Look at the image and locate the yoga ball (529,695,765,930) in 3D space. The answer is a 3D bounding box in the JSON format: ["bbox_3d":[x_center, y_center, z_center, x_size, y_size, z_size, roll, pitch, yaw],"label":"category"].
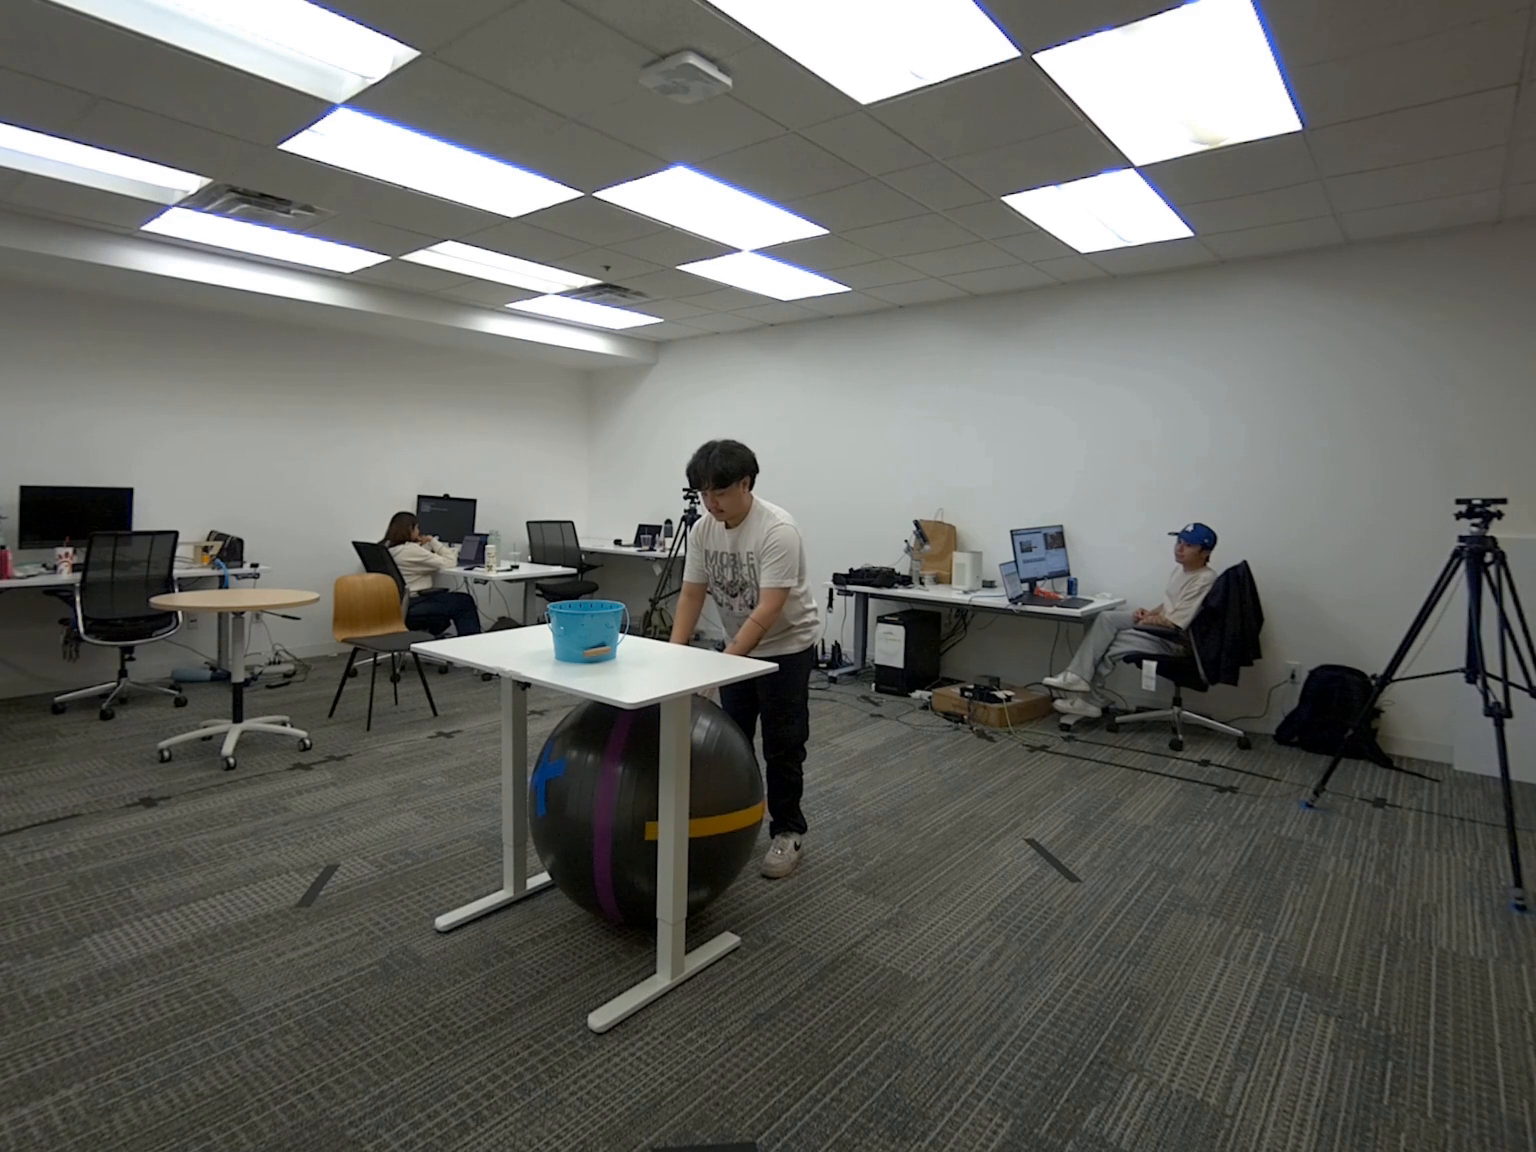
[{"bbox_3d":[-0.404,0.733,2.771,0.757,0.755,0.762,1,4,-2],"label":"yoga ball"}]
